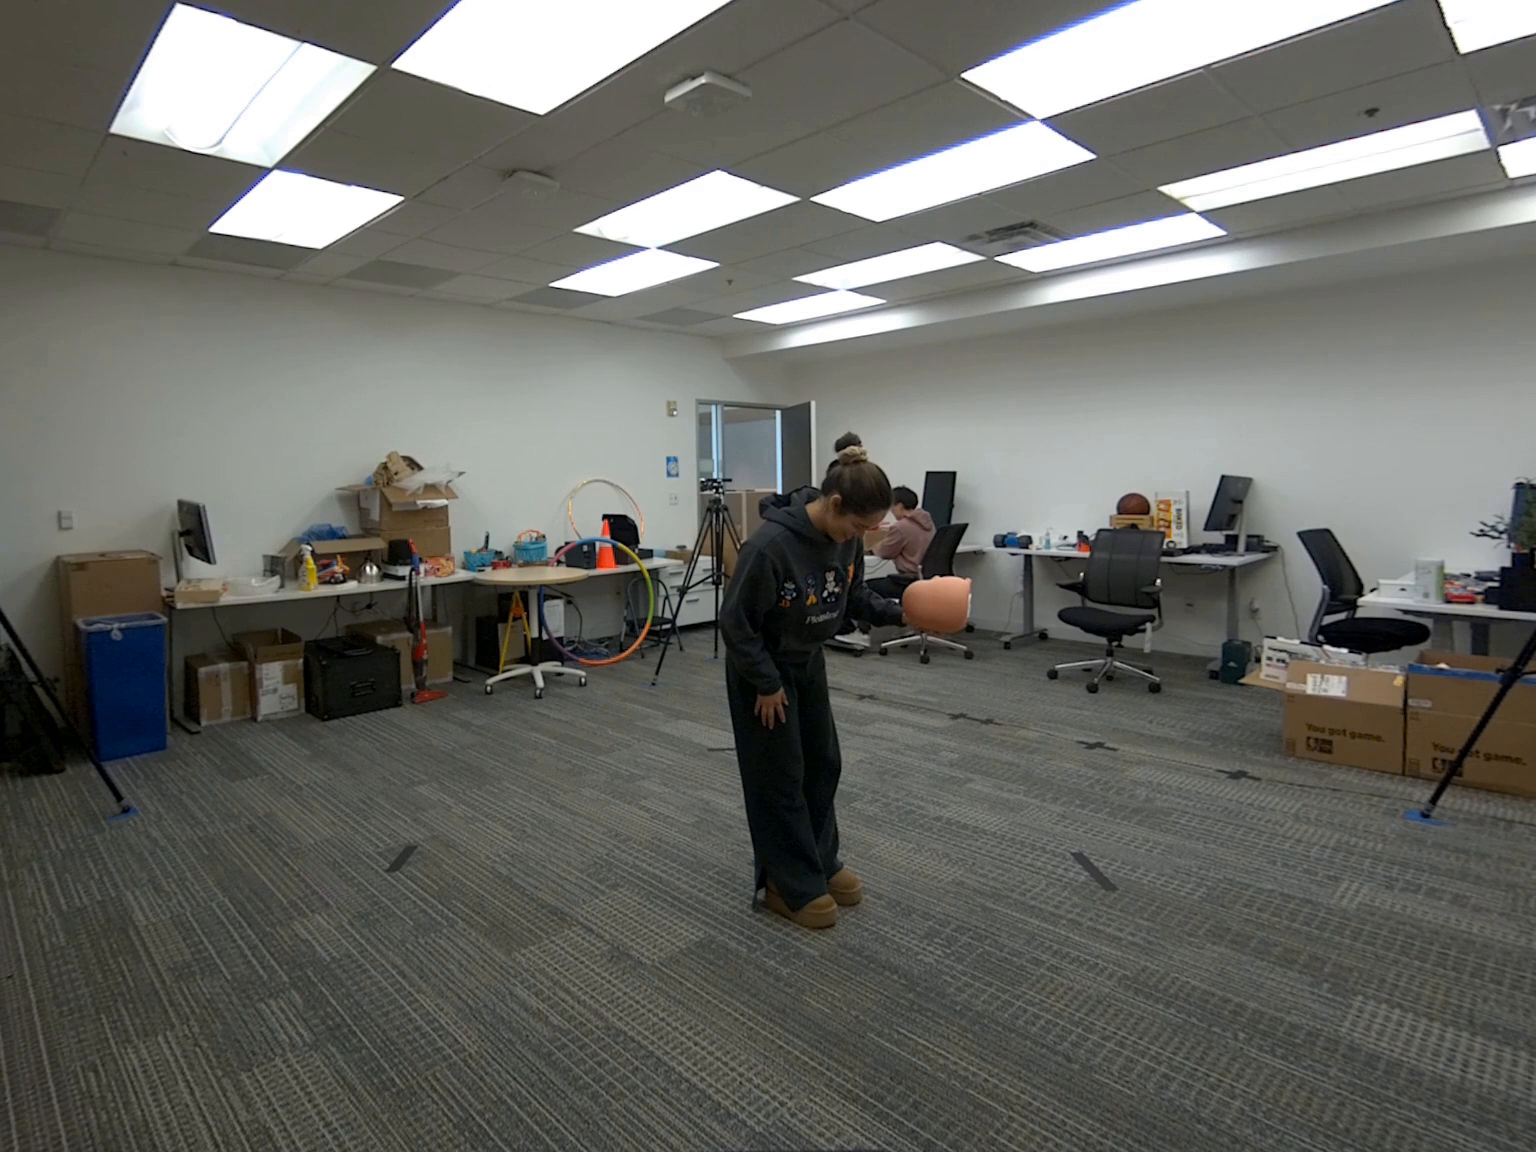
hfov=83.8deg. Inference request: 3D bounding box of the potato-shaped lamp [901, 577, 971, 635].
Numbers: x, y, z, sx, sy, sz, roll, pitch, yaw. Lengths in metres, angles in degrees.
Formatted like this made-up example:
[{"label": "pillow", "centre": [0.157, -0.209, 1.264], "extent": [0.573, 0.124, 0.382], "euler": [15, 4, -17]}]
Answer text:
[{"label": "potato-shaped lamp", "centre": [0.505, 0.082, 2.567], "extent": [0.202, 0.159, 0.173], "euler": [8, 46, 18]}]
